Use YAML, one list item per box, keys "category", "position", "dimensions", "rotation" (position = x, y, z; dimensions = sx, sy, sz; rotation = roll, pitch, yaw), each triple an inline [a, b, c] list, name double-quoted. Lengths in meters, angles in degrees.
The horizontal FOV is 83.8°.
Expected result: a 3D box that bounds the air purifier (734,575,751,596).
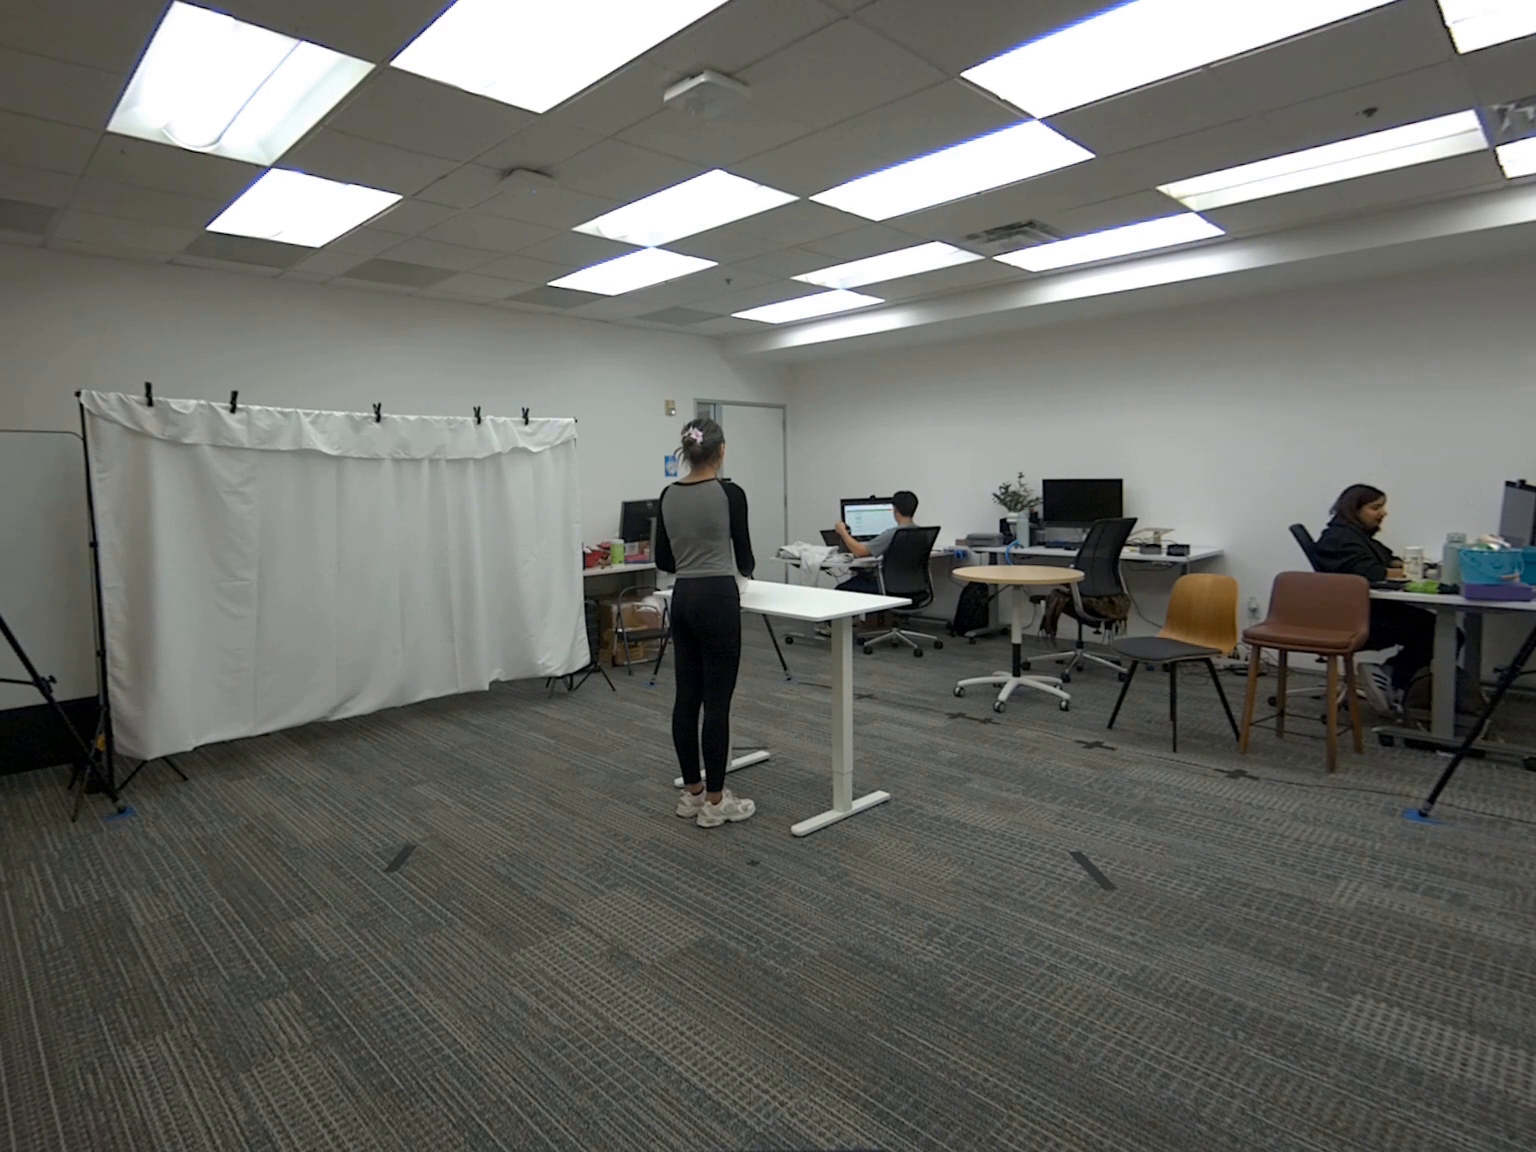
- category: "air purifier"
  position: [-0.175, -0.053, 3.839]
  dimensions: [0.175, 0.264, 0.169]
  rotation: [0, 5, 18]
